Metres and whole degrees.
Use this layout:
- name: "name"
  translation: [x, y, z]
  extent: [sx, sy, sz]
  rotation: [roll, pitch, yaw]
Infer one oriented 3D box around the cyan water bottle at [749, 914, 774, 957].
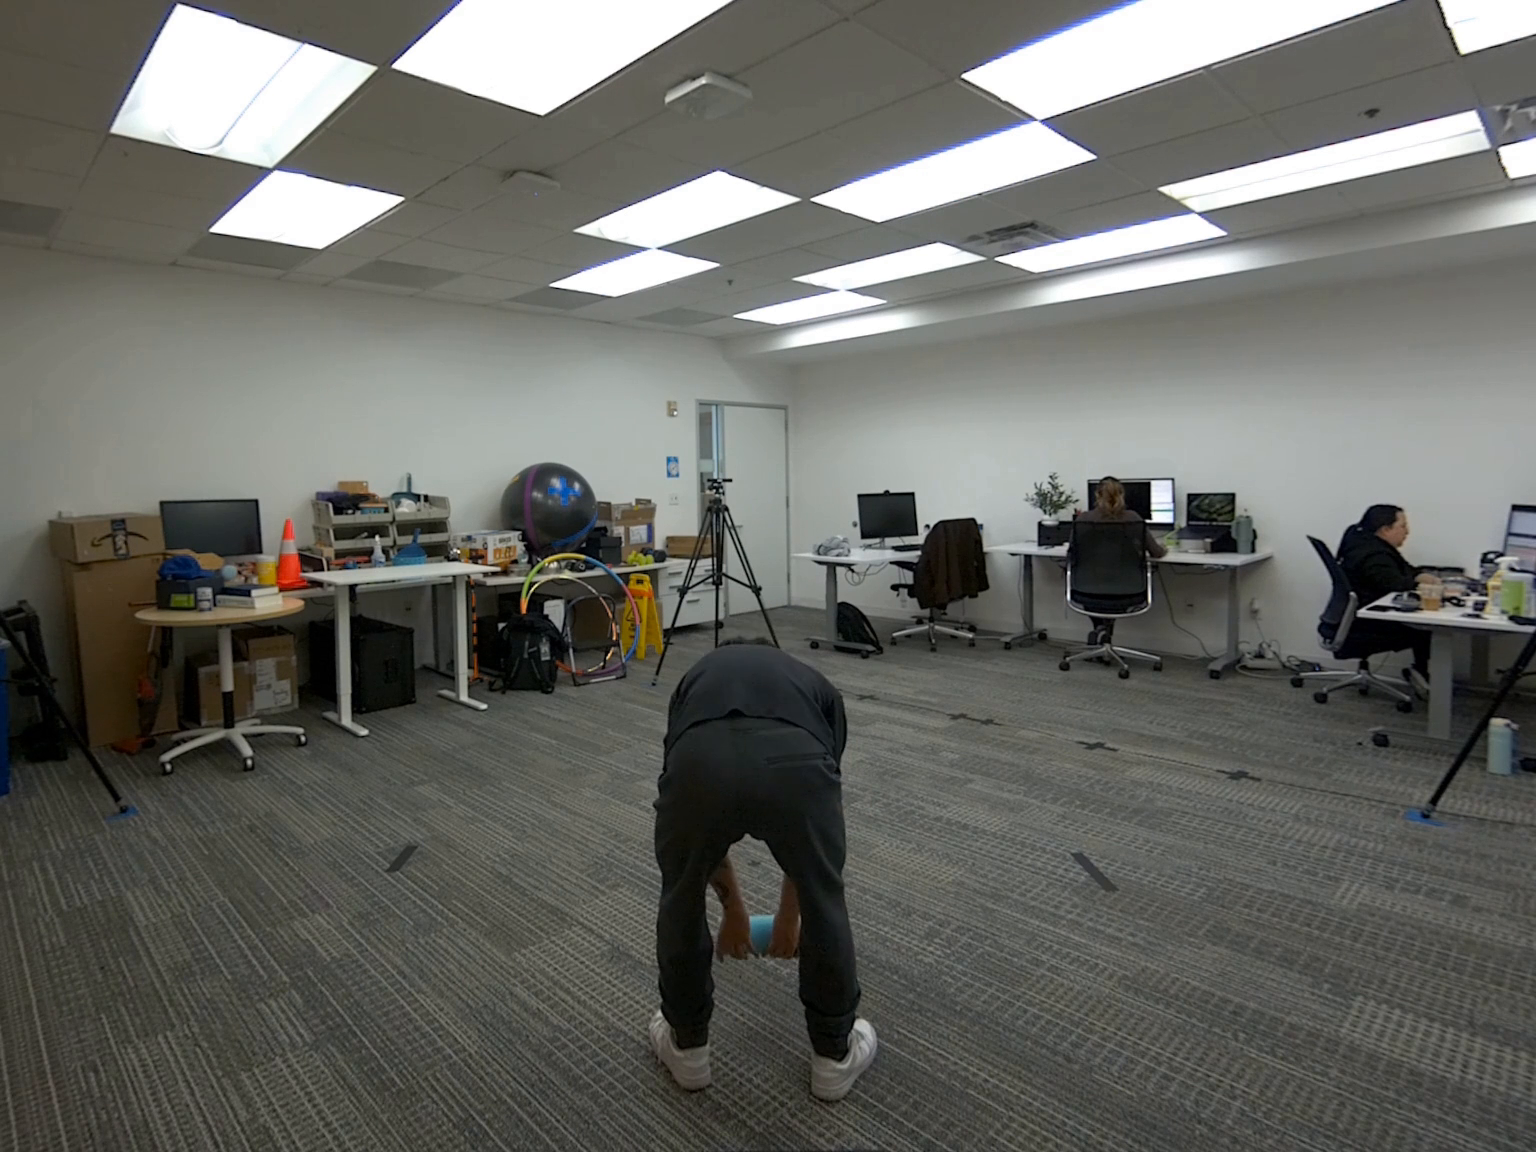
- name: "cyan water bottle"
  translation: [0.032, 0.926, 2.183]
  extent: [0.283, 0.092, 0.093]
  rotation: [-2, 5, -2]
